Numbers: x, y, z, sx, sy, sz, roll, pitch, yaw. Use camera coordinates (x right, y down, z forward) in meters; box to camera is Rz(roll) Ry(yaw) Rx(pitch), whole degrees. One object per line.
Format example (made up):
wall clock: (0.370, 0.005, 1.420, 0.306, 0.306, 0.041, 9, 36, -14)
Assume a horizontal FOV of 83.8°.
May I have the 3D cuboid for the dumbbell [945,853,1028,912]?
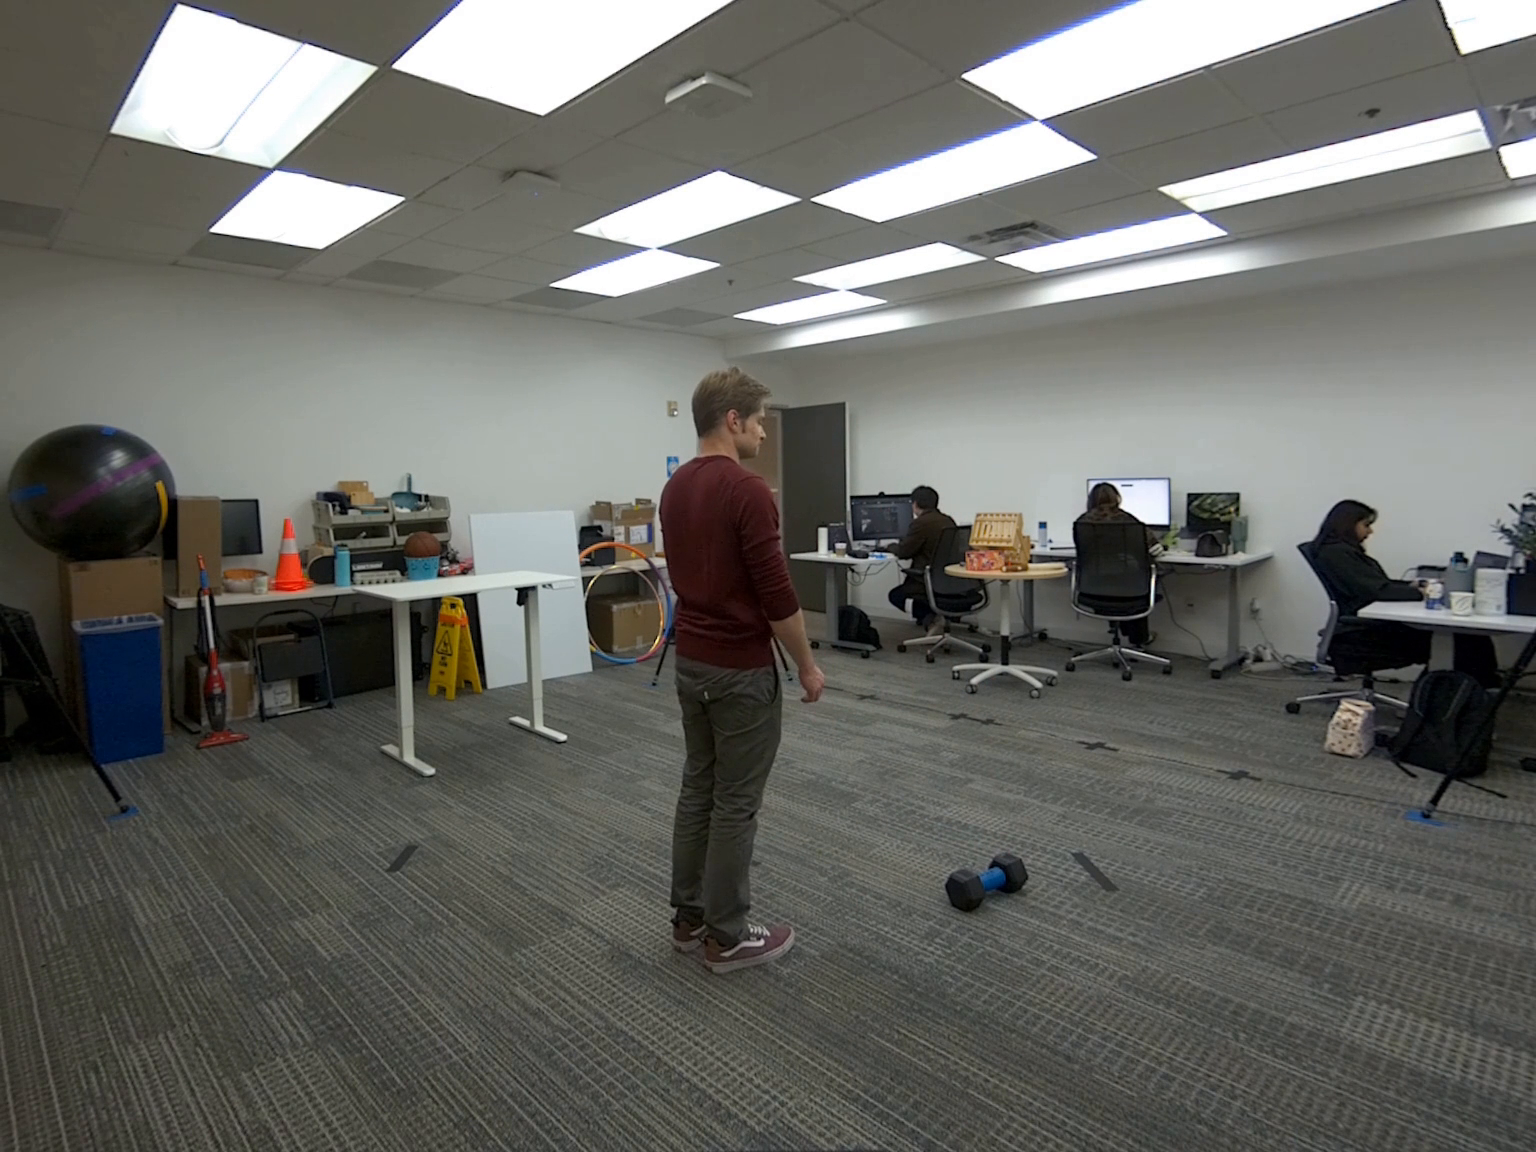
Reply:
dumbbell: (0.732, 1.011, 2.823, 0.286, 0.126, 0.109, -5, -24, -34)
